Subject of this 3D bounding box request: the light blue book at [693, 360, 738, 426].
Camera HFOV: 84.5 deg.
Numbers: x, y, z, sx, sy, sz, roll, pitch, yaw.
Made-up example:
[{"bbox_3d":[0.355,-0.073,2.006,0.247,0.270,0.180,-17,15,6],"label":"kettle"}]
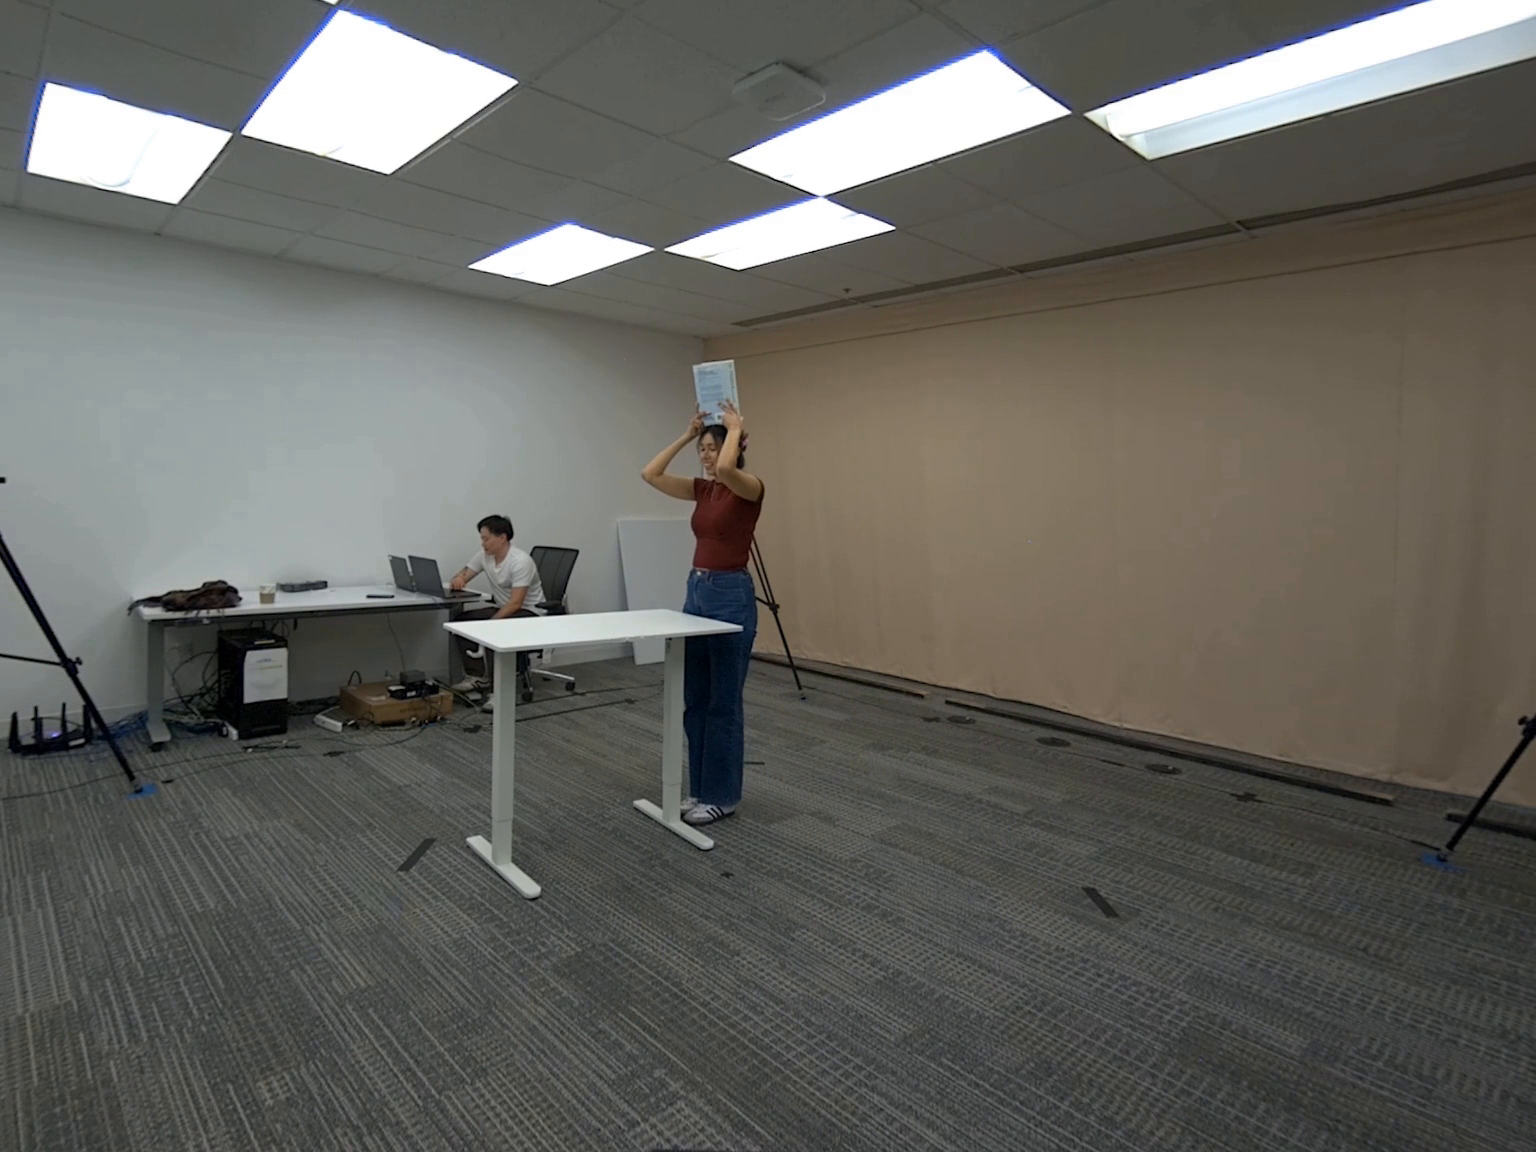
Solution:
[{"bbox_3d":[-0.228,-0.787,3.621,0.196,0.258,0.058,3,15,37],"label":"light blue book"}]
